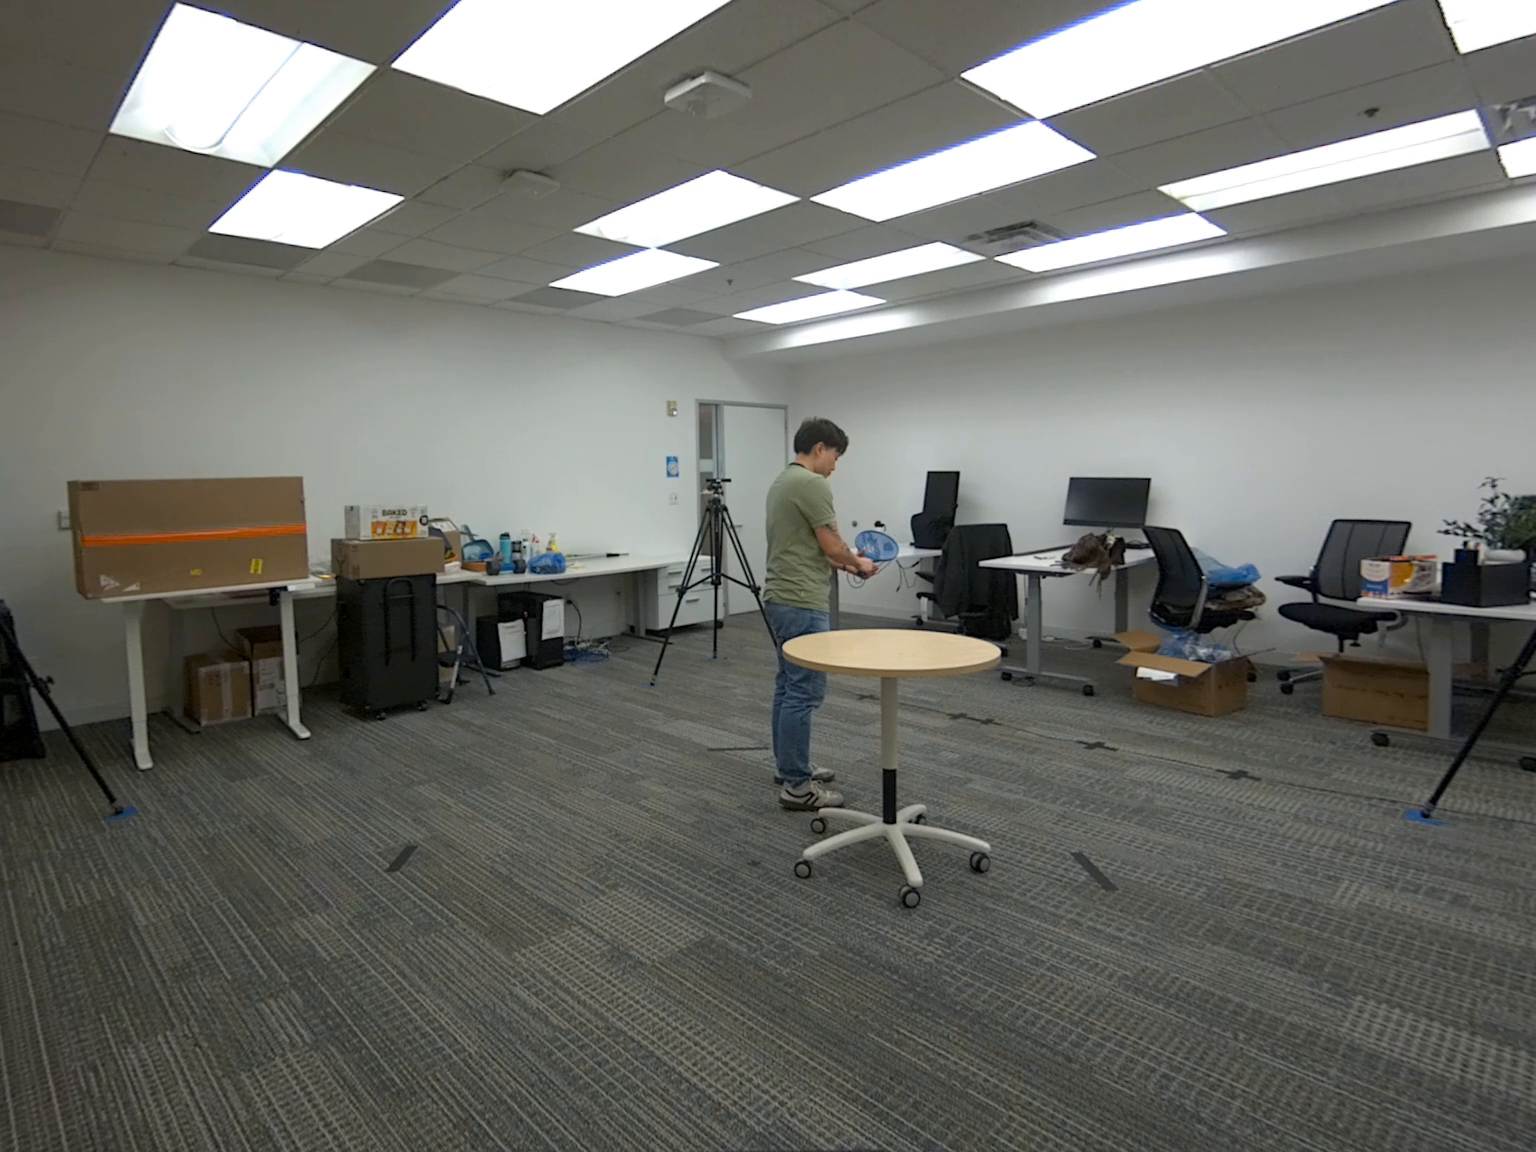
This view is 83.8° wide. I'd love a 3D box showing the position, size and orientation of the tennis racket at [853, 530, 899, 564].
[{"bbox_3d":[0.477,-0.112,4.017,0.218,0.031,0.429,36,39,14],"label":"tennis racket"}]
